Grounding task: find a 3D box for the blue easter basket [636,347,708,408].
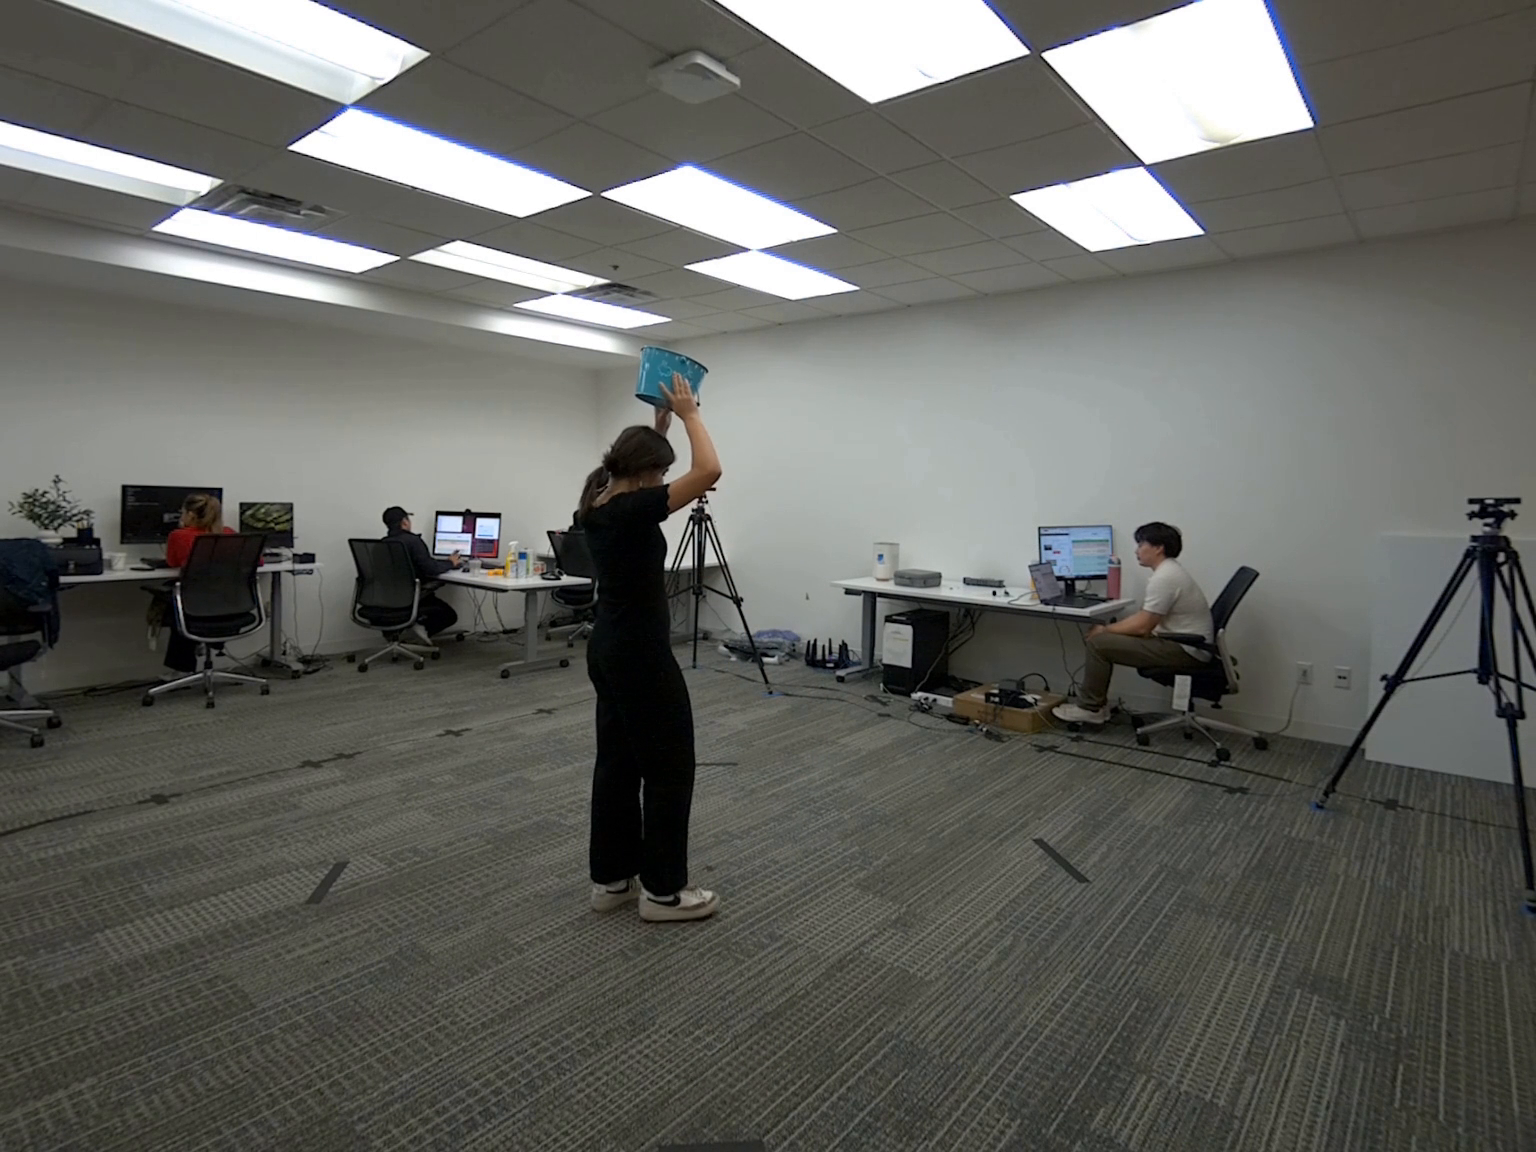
[{"bbox_3d":[-0.331,-0.642,2.787,0.243,0.156,0.243,18,-1,-1],"label":"blue easter basket"}]
